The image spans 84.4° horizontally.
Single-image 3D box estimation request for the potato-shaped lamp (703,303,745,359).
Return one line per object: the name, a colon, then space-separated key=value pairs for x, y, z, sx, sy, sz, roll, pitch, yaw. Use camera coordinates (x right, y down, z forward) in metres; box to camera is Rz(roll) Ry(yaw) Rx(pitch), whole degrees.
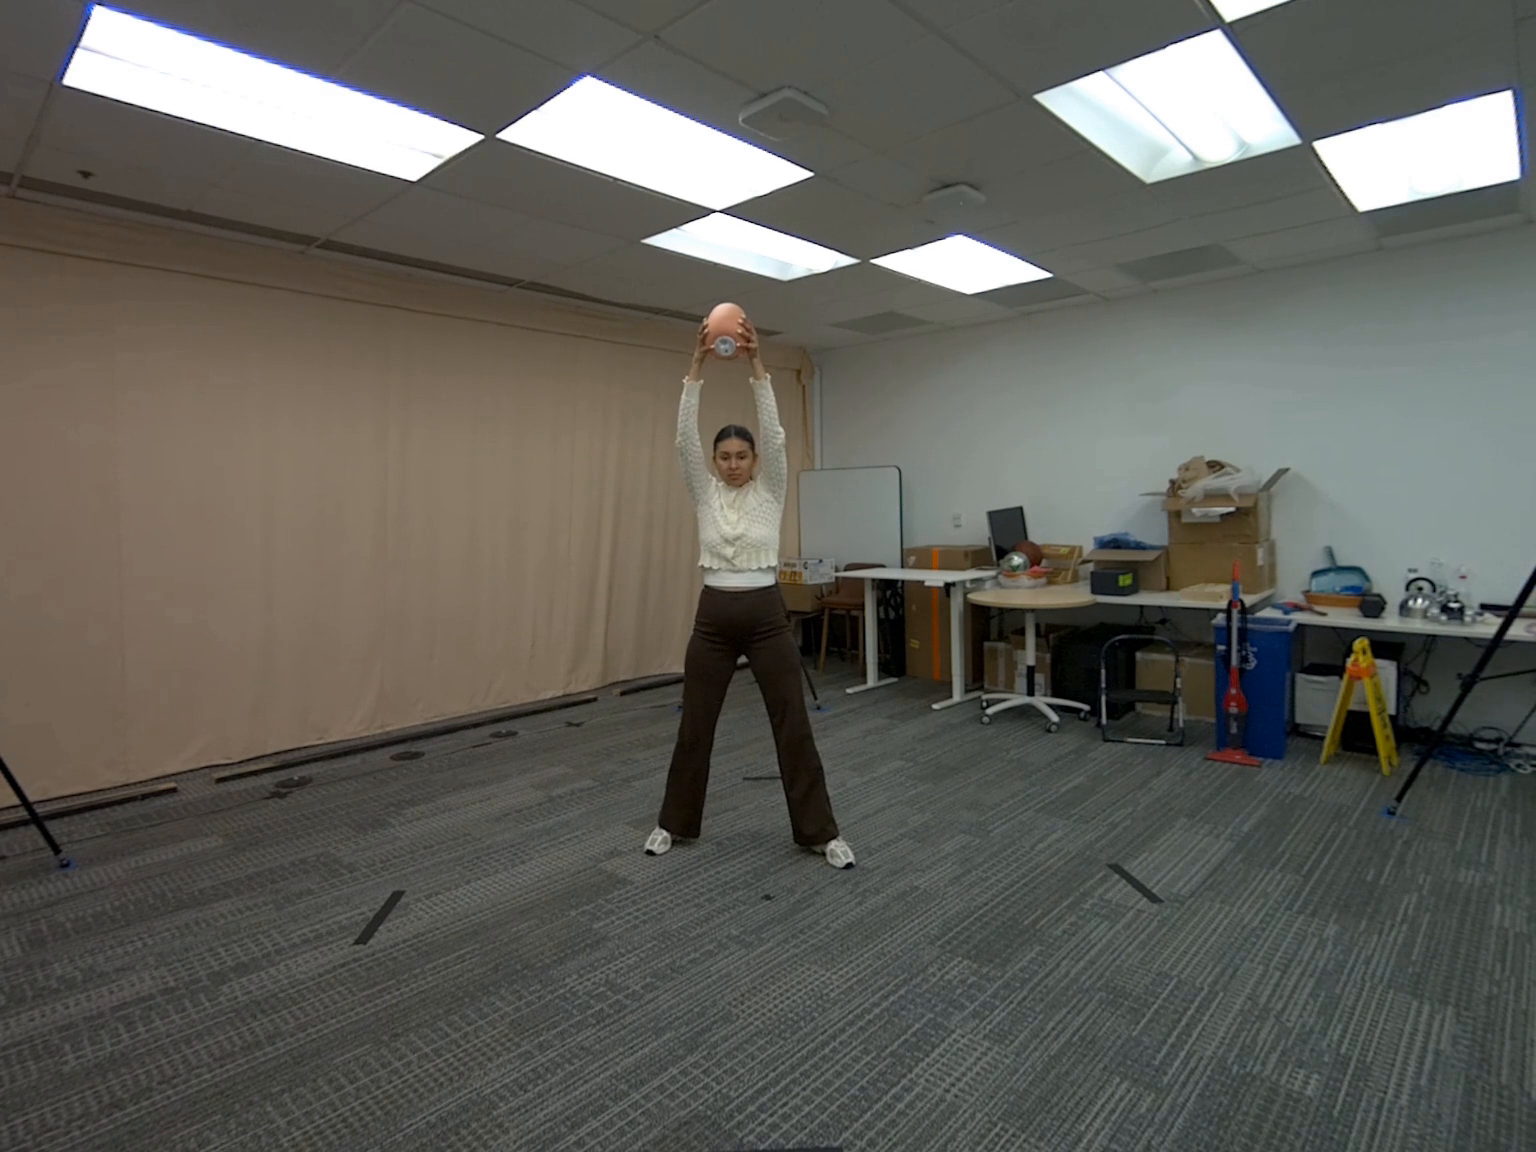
potato-shaped lamp: x=-0.147 y=-0.890 z=3.045 sx=0.166 sy=0.167 sz=0.201 roll=-5 pitch=46 yaw=9
